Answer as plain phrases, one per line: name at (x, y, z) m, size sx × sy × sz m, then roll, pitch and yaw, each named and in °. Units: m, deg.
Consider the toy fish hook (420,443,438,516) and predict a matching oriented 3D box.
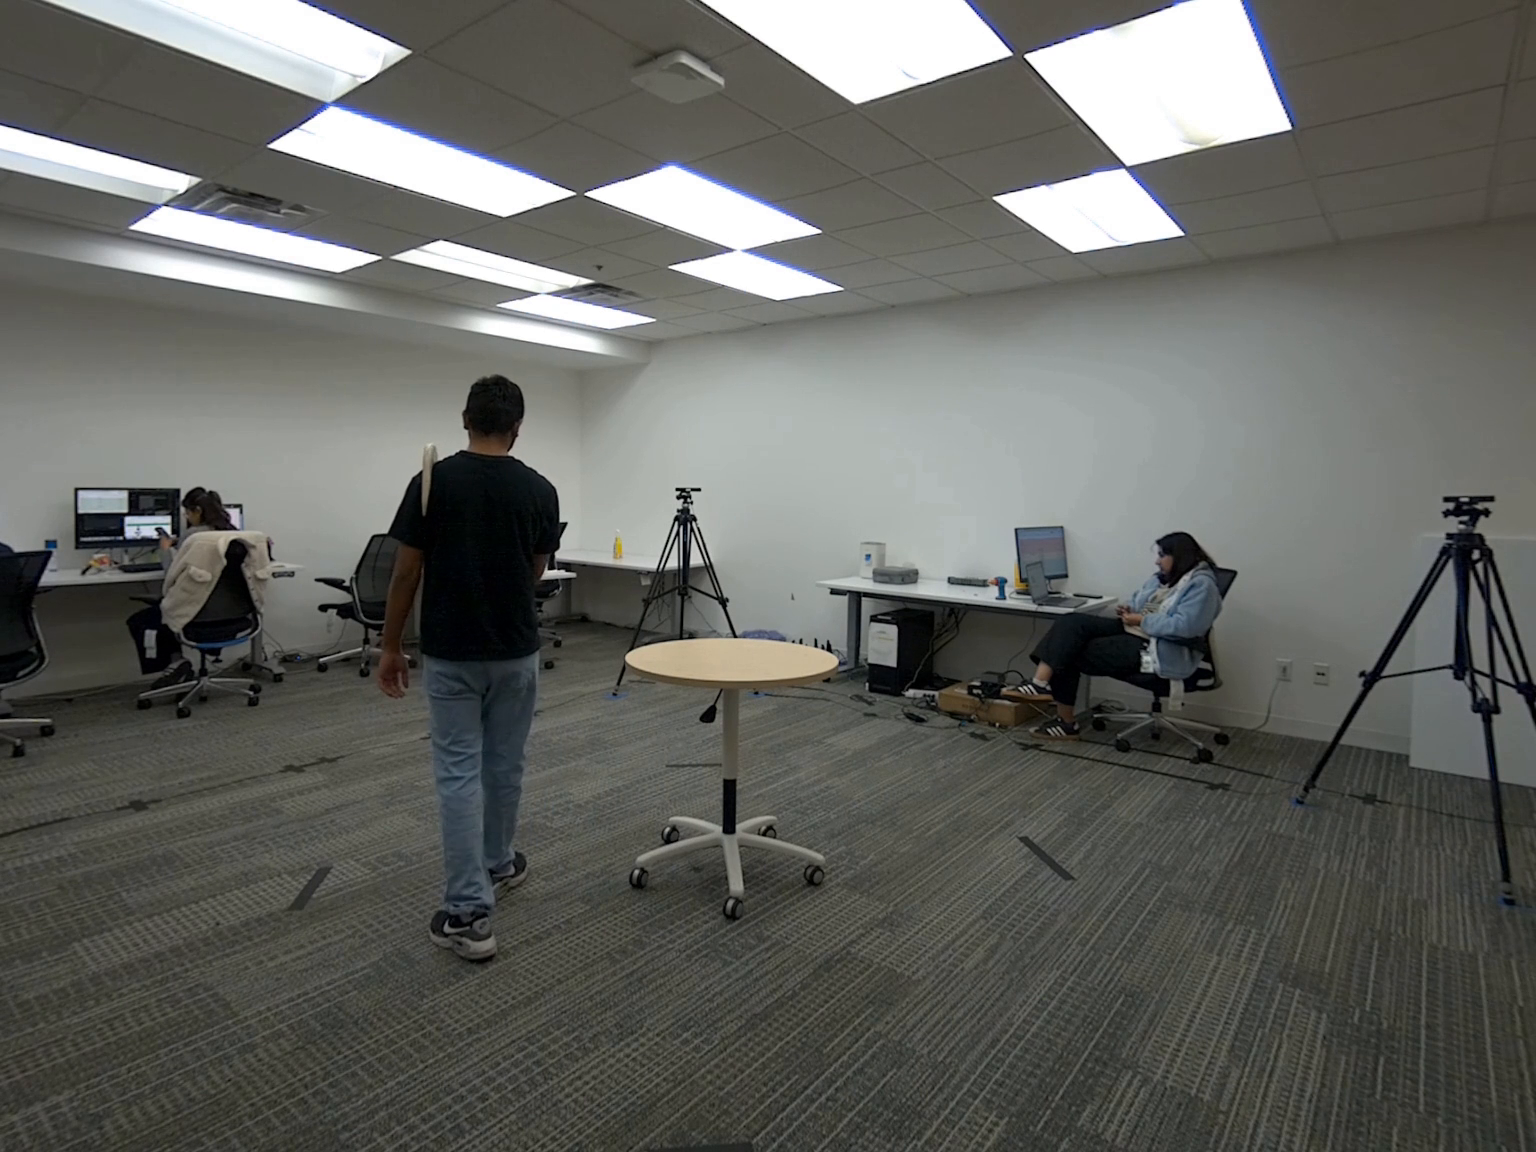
toy fish hook at (-1.073, -0.163, 2.634) m, size 0.047 × 0.500 × 0.231 m, roll 3°, pitch 17°, yaw -14°
